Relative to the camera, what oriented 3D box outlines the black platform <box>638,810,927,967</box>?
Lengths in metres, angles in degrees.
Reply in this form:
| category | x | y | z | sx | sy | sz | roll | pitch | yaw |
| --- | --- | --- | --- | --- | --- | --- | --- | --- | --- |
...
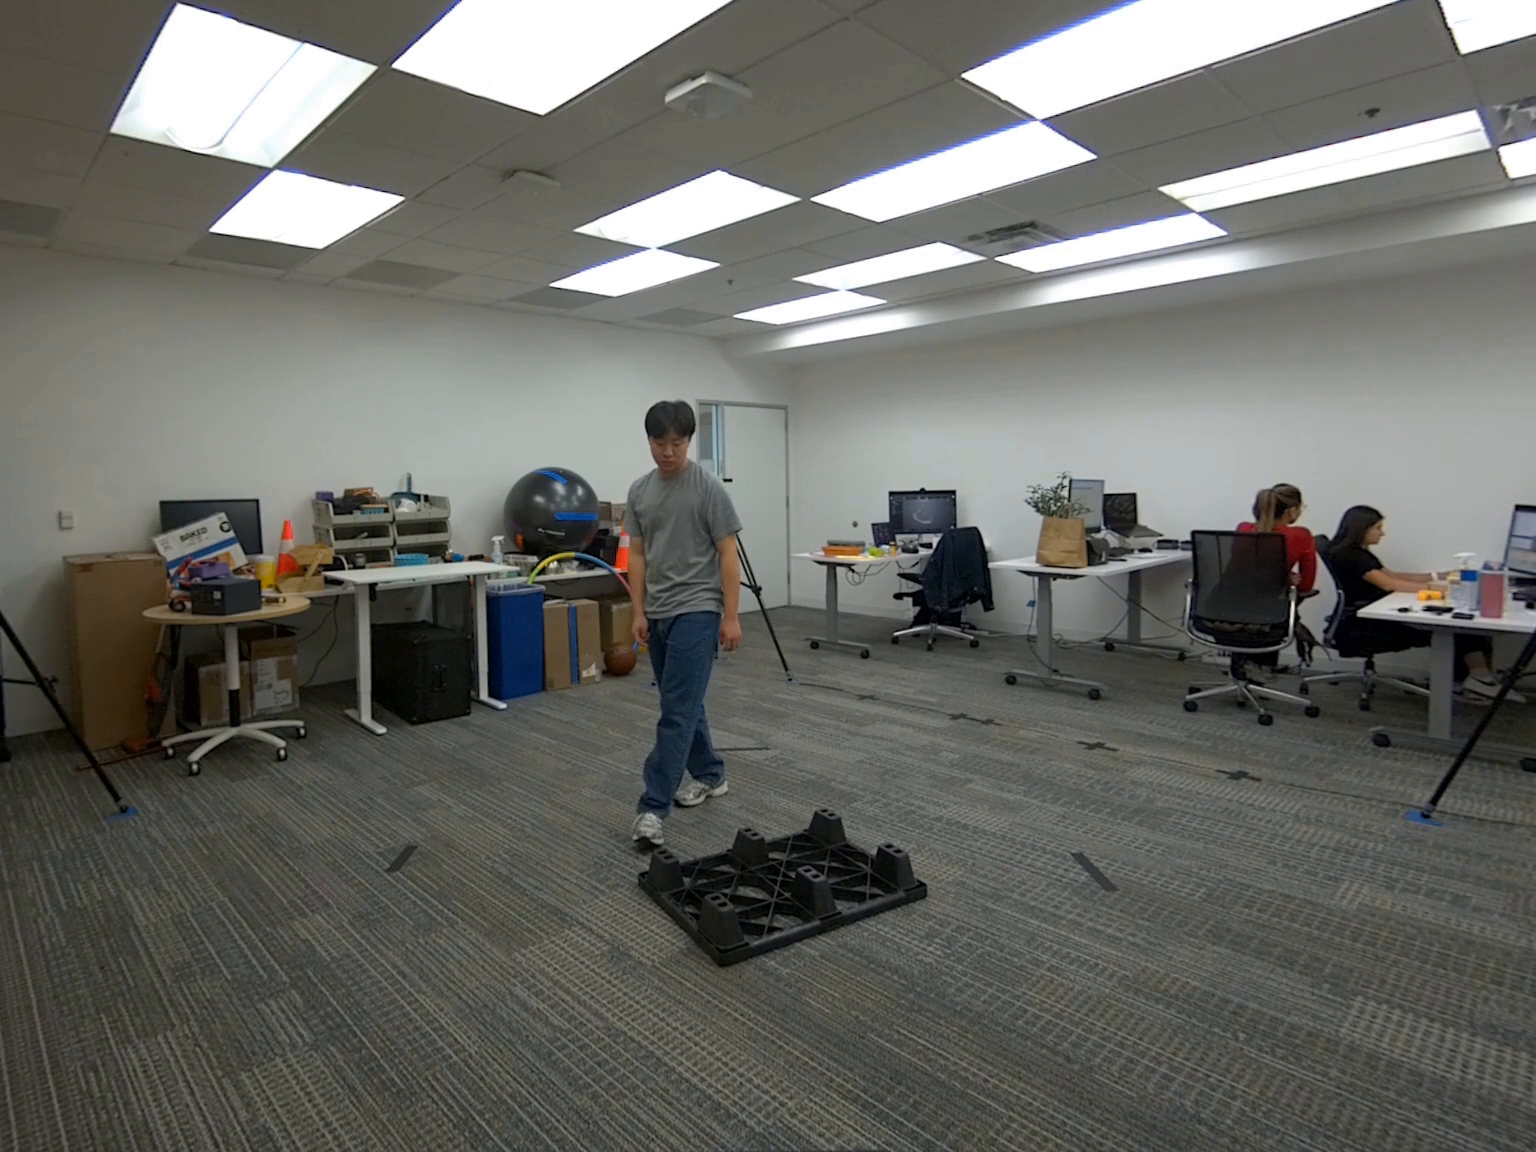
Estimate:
| category | x | y | z | sx | sy | sz | roll | pitch | yaw |
| --- | --- | --- | --- | --- | --- | --- | --- | --- | --- |
| black platform | 0.046 | 1.002 | 2.896 | 0.786 | 0.142 | 0.623 | -5 | 8 | -31 |
